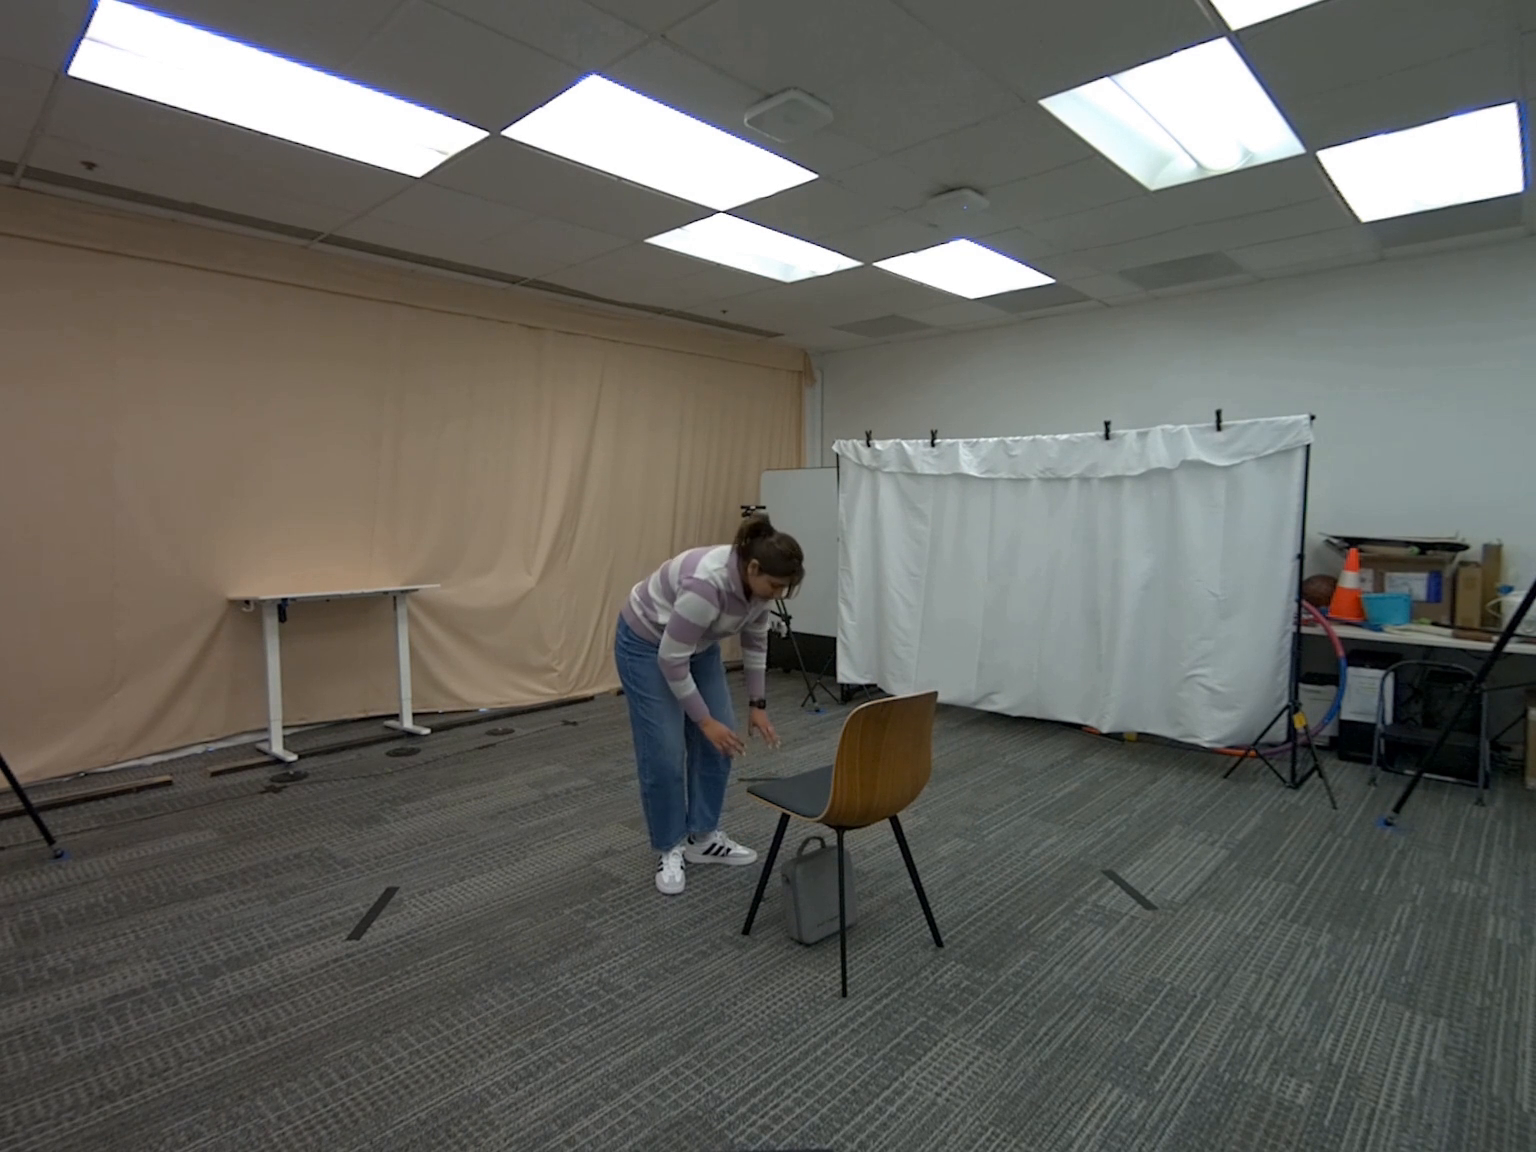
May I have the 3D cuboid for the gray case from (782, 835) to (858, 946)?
[{"bbox_3d":[0.169,1.036,2.748,0.249,0.262,0.107,-3,-7,-40],"label":"gray case"}]
